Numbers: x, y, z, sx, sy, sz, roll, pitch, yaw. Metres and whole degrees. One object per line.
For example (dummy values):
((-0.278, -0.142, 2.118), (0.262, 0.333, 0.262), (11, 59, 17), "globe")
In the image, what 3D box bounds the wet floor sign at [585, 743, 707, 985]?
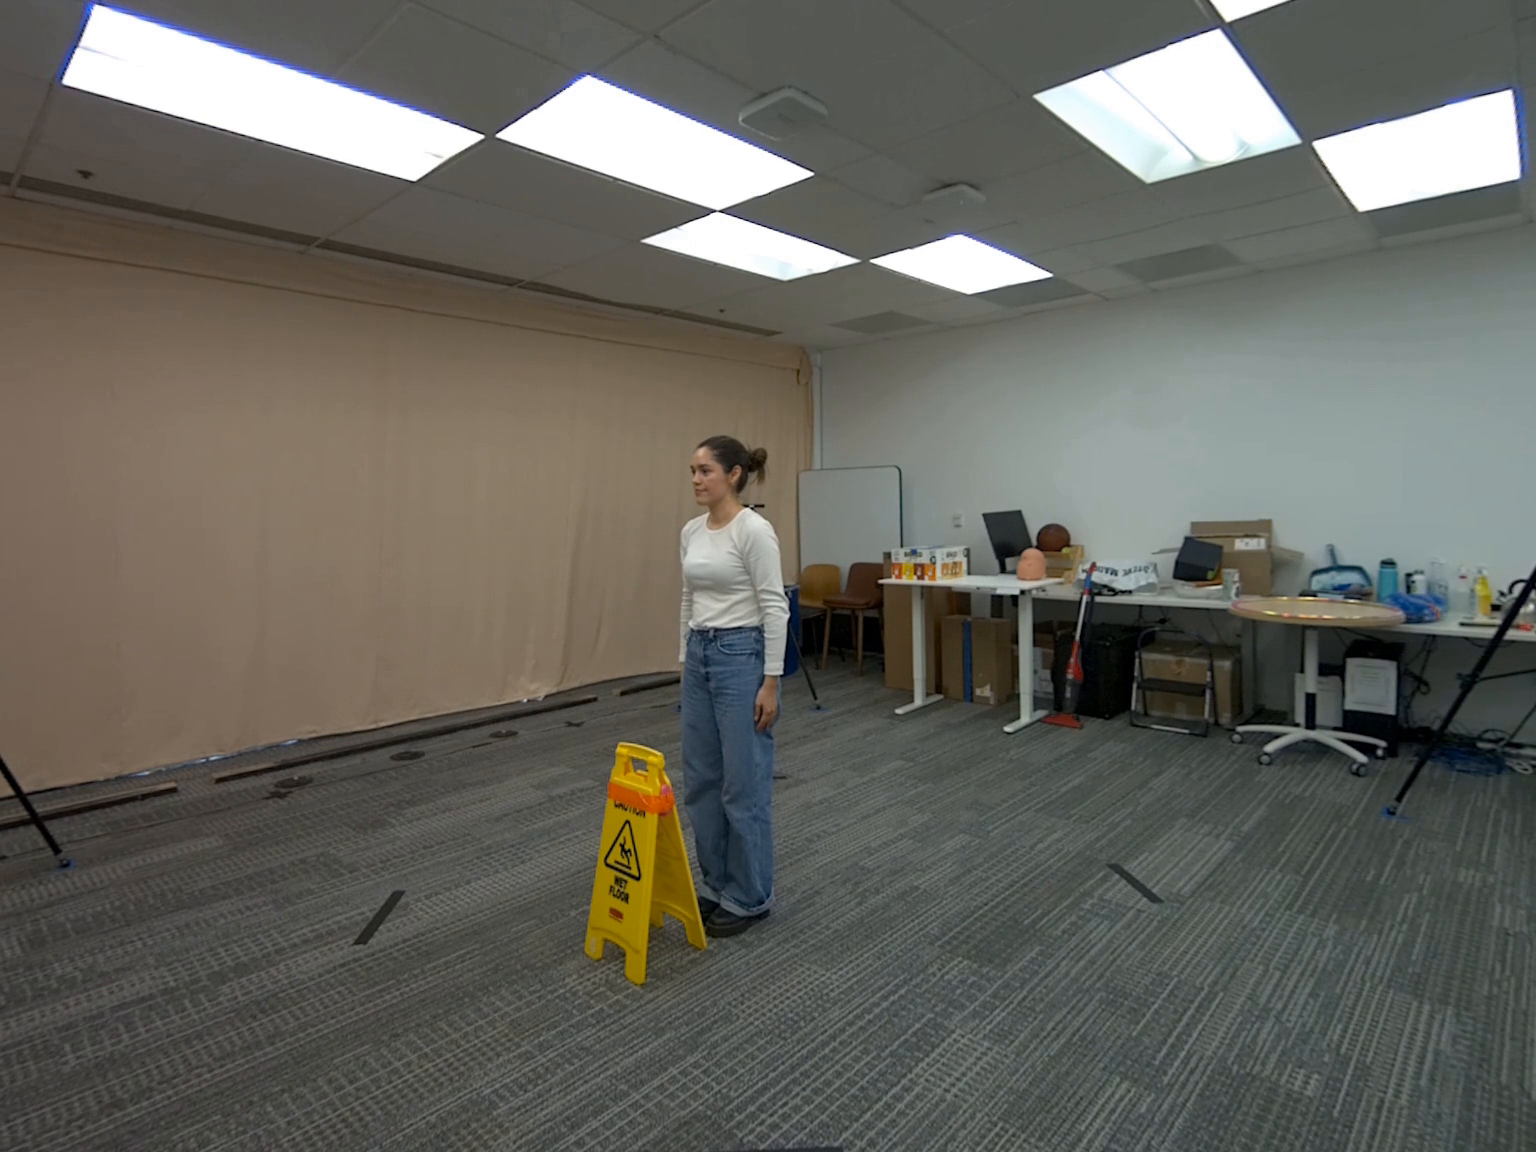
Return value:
((-0.388, 0.854, 2.620), (0.291, 0.645, 0.281), (0, 4, 43), "wet floor sign")
